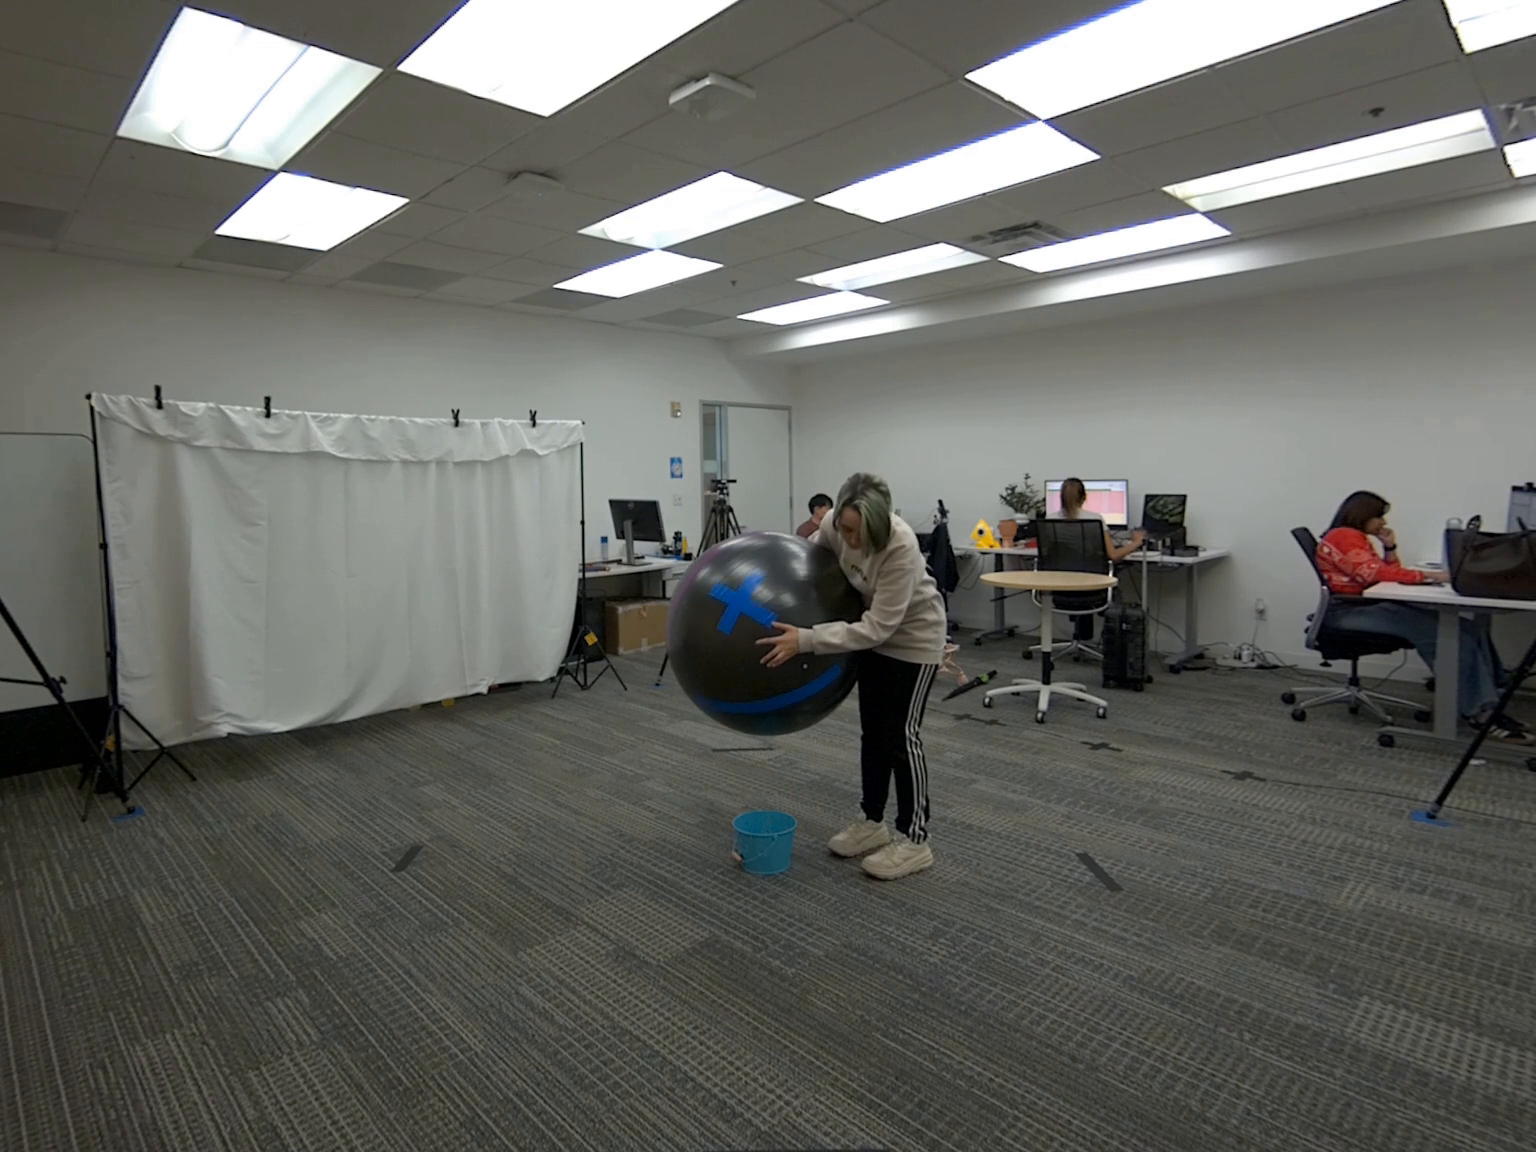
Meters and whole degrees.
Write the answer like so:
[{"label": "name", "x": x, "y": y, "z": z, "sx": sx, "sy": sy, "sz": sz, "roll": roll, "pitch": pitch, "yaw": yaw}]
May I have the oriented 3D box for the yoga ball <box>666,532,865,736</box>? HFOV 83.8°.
[{"label": "yoga ball", "x": -0.015, "y": 0.217, "z": 3.207, "sx": 0.757, "sy": 0.755, "sz": 0.762, "roll": -1, "pitch": 5, "yaw": -2}]
